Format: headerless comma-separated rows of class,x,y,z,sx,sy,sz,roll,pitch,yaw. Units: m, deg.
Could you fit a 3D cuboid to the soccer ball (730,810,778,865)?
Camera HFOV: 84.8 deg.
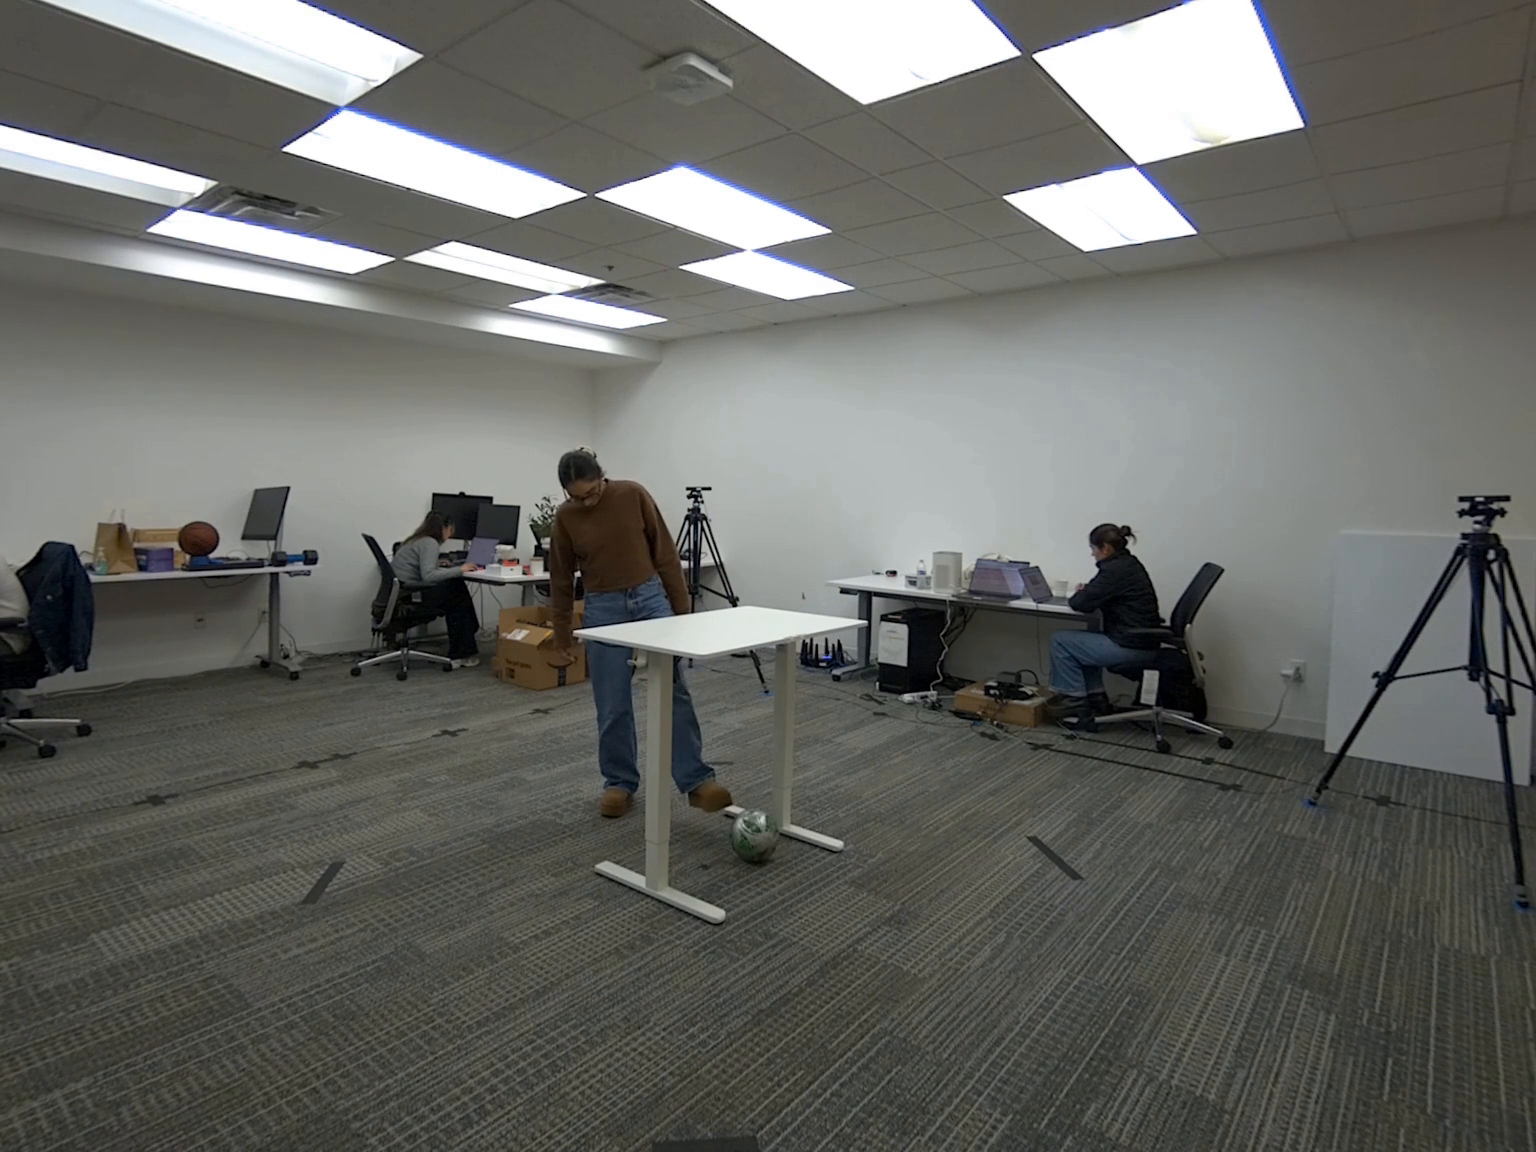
soccer ball,-0.059,0.969,3.183,0.187,0.187,0.188,1,4,-2
